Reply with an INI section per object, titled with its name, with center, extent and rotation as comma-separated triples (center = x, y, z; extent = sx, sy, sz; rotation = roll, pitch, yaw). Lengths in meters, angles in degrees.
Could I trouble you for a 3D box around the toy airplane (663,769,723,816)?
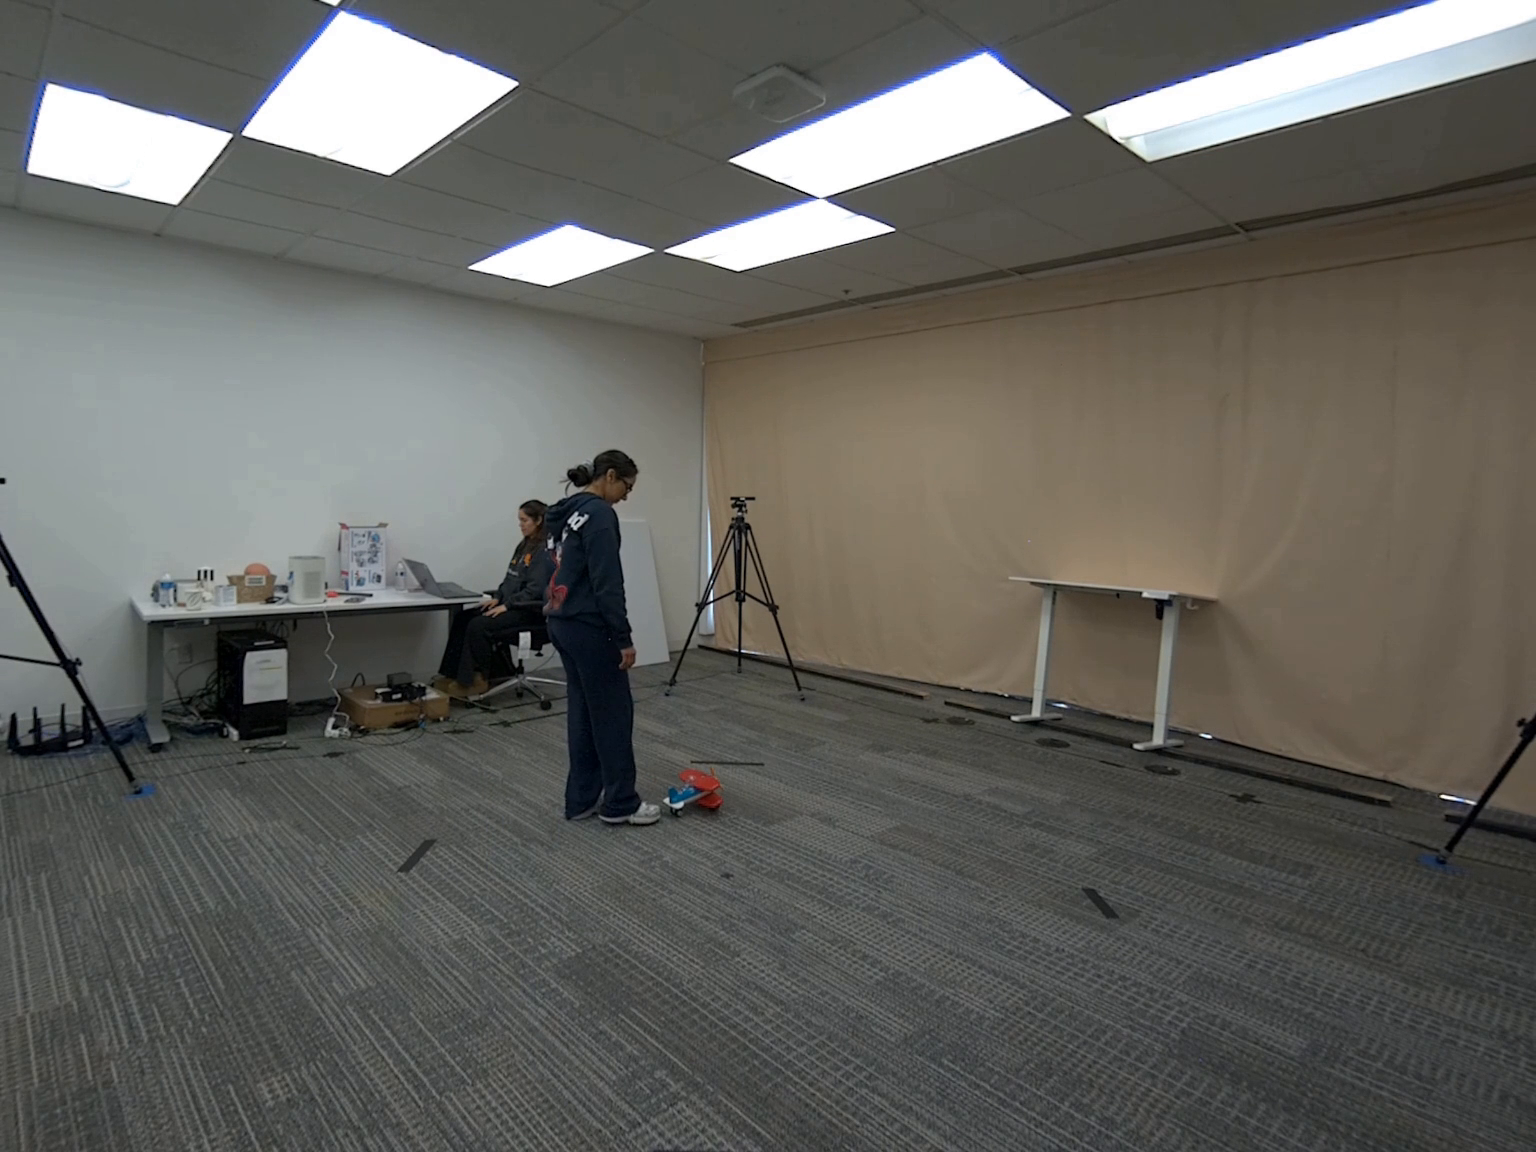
[toy airplane]
center = -0.331, 0.971, 3.727
extent = 0.255, 0.156, 0.255
rotation = 3, 3, 21
